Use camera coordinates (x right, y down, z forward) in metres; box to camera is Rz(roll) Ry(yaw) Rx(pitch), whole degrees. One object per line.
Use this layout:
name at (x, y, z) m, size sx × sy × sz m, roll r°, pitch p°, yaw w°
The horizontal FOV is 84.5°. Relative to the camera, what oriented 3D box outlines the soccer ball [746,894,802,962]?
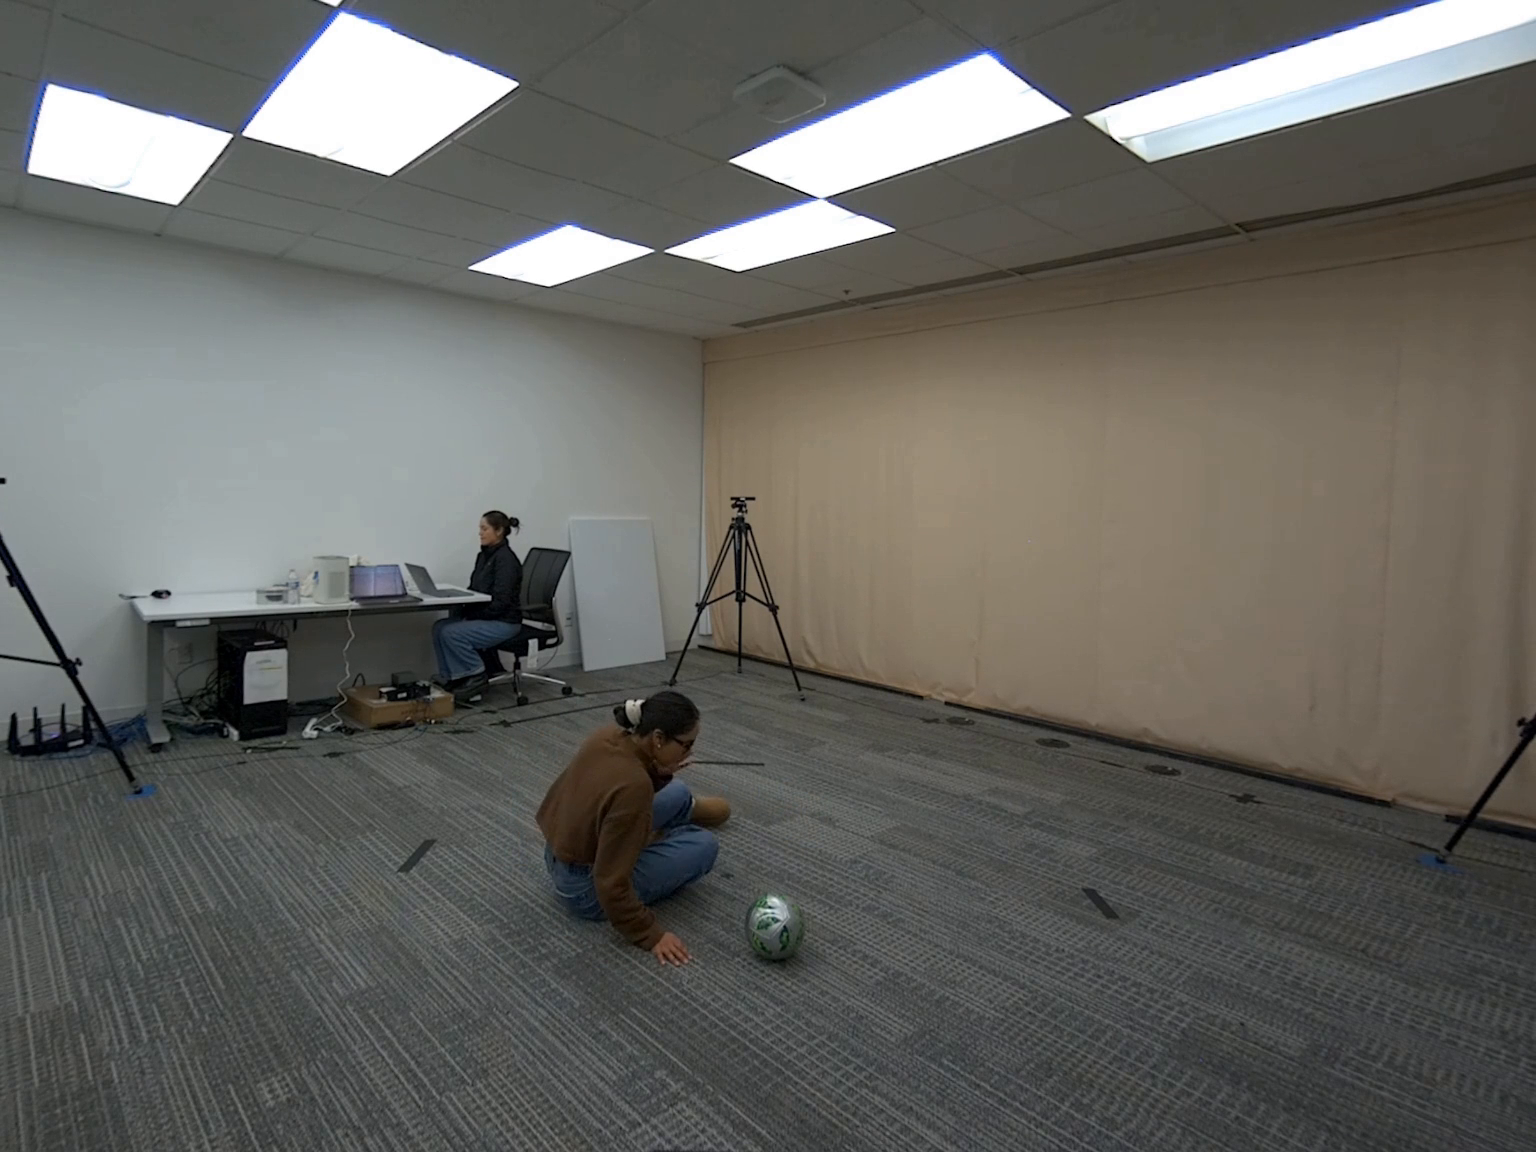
soccer ball at (0.013, 1.069, 2.562) m, size 0.187 × 0.187 × 0.188 m, roll 1°, pitch 4°, yaw -1°
